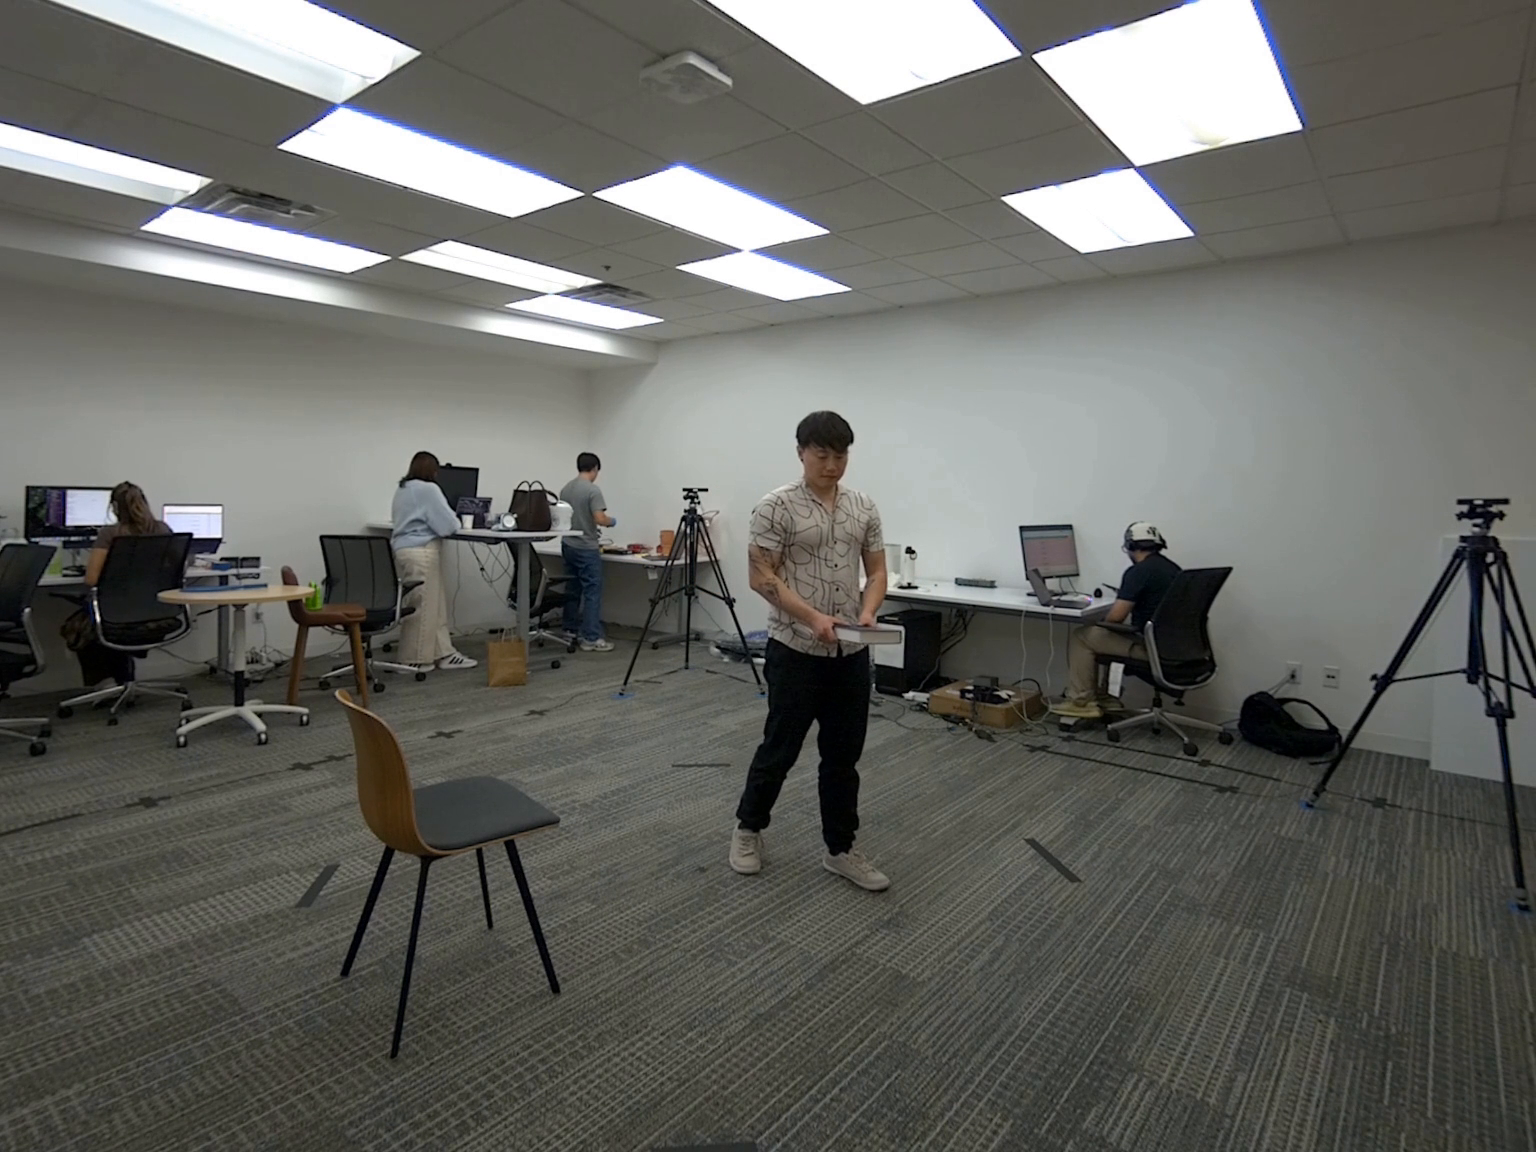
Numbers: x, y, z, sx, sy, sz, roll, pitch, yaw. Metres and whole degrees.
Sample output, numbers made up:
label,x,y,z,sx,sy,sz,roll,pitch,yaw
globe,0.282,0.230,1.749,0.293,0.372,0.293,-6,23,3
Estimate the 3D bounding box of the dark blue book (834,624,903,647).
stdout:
label,x,y,z,sx,sy,sz,roll,pitch,yaw
dark blue book,0.300,0.190,2.811,0.162,0.045,0.247,1,1,-10
